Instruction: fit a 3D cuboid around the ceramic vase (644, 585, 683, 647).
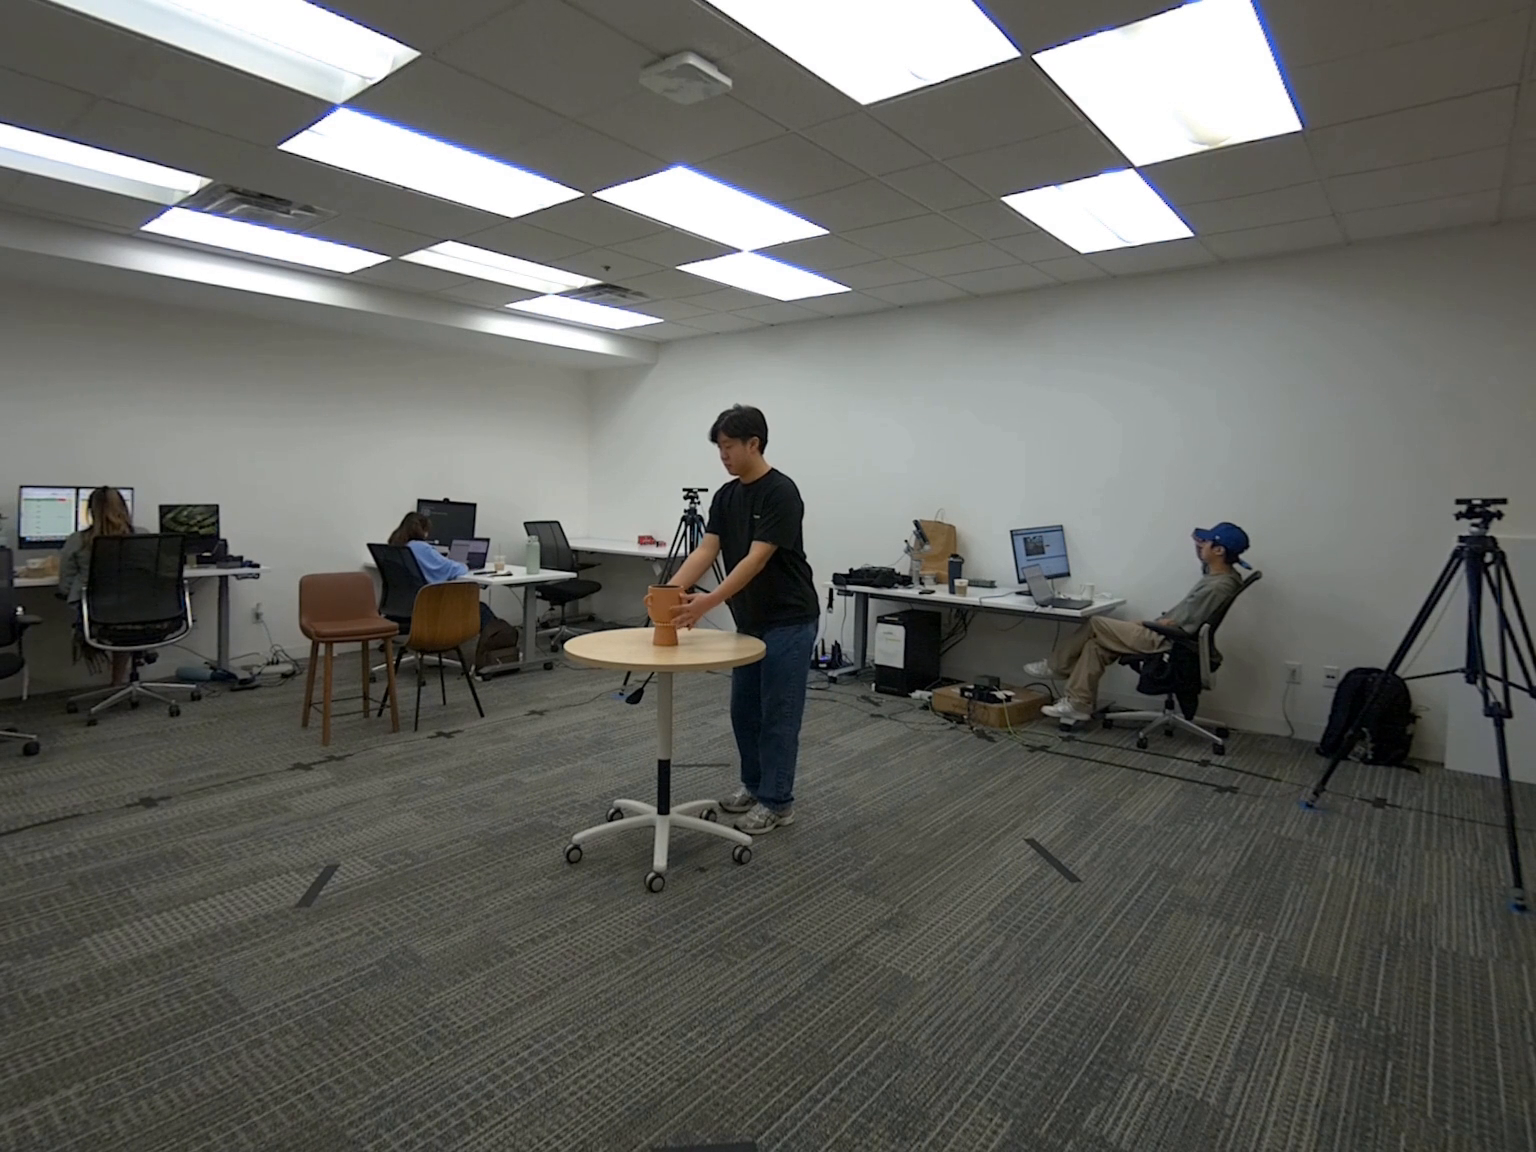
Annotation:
[{"bbox_3d":[-0.402,0.148,3.237,0.159,0.219,0.135,0,3,-1],"label":"ceramic vase"}]
